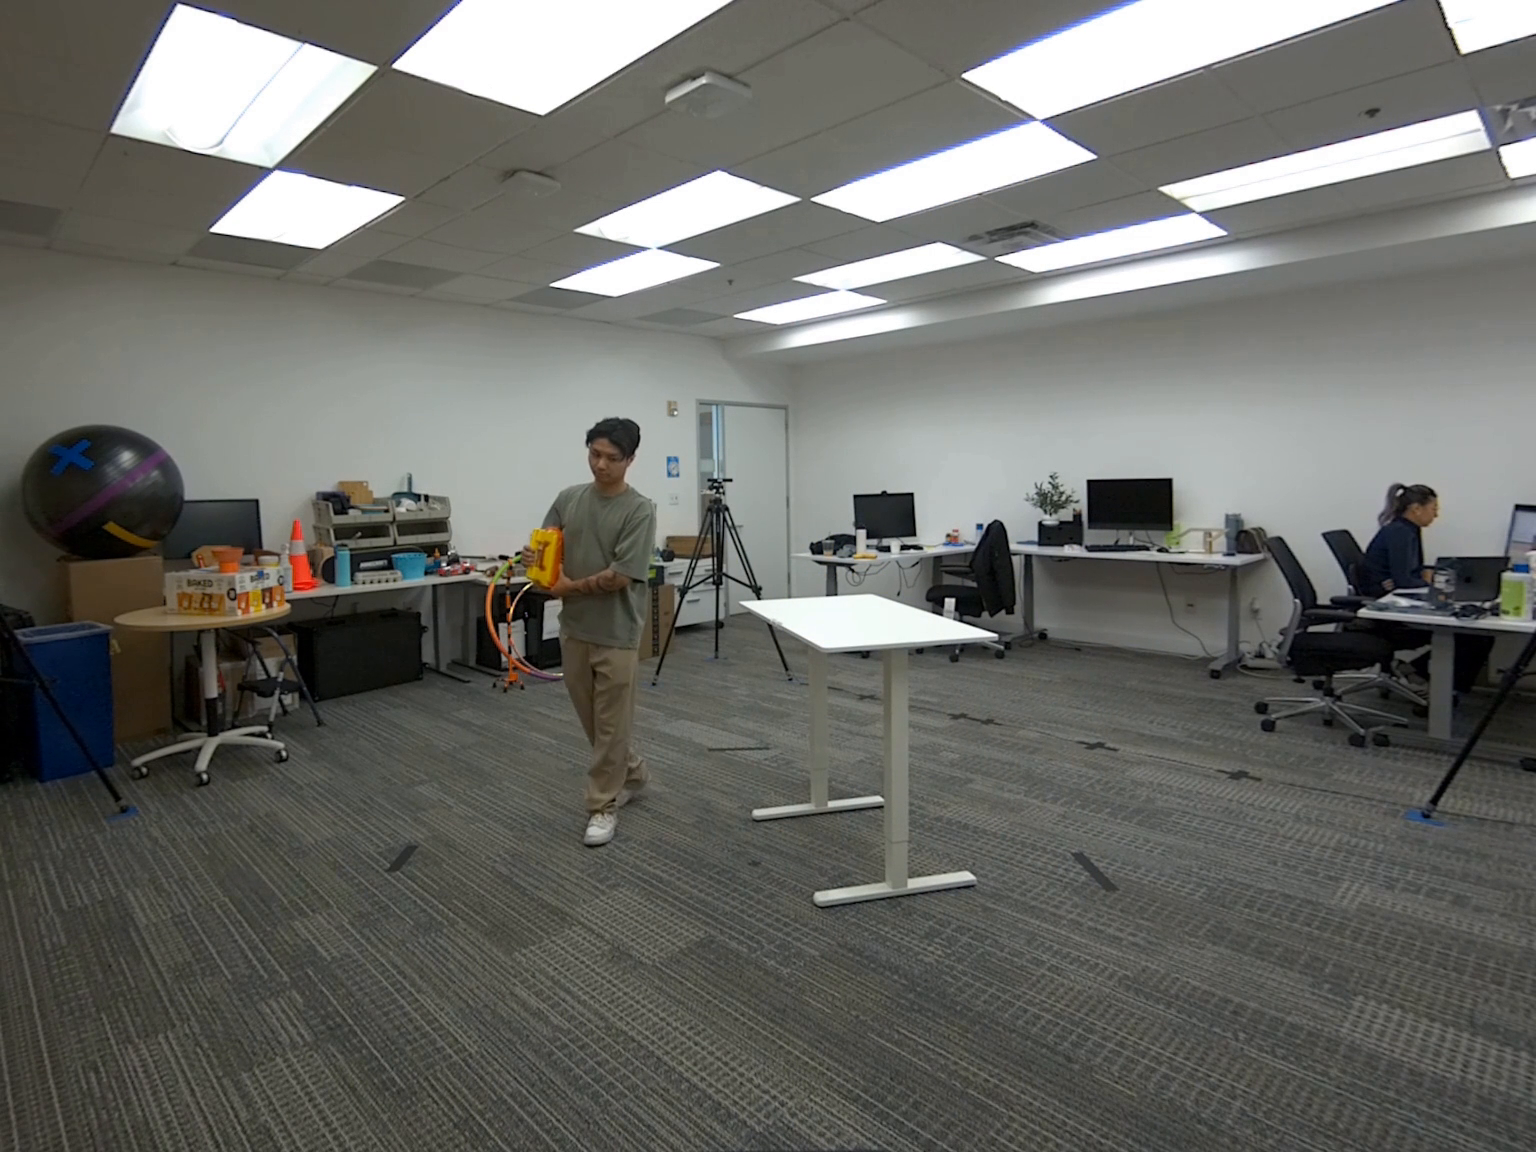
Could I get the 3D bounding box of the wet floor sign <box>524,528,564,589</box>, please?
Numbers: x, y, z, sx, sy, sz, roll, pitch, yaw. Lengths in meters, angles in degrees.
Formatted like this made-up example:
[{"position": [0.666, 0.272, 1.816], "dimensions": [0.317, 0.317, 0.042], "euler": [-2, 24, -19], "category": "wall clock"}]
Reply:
[{"position": [-0.842, -0.029, 3.610], "dimensions": [0.295, 0.284, 0.629], "euler": [5, -8, 19], "category": "wet floor sign"}]
